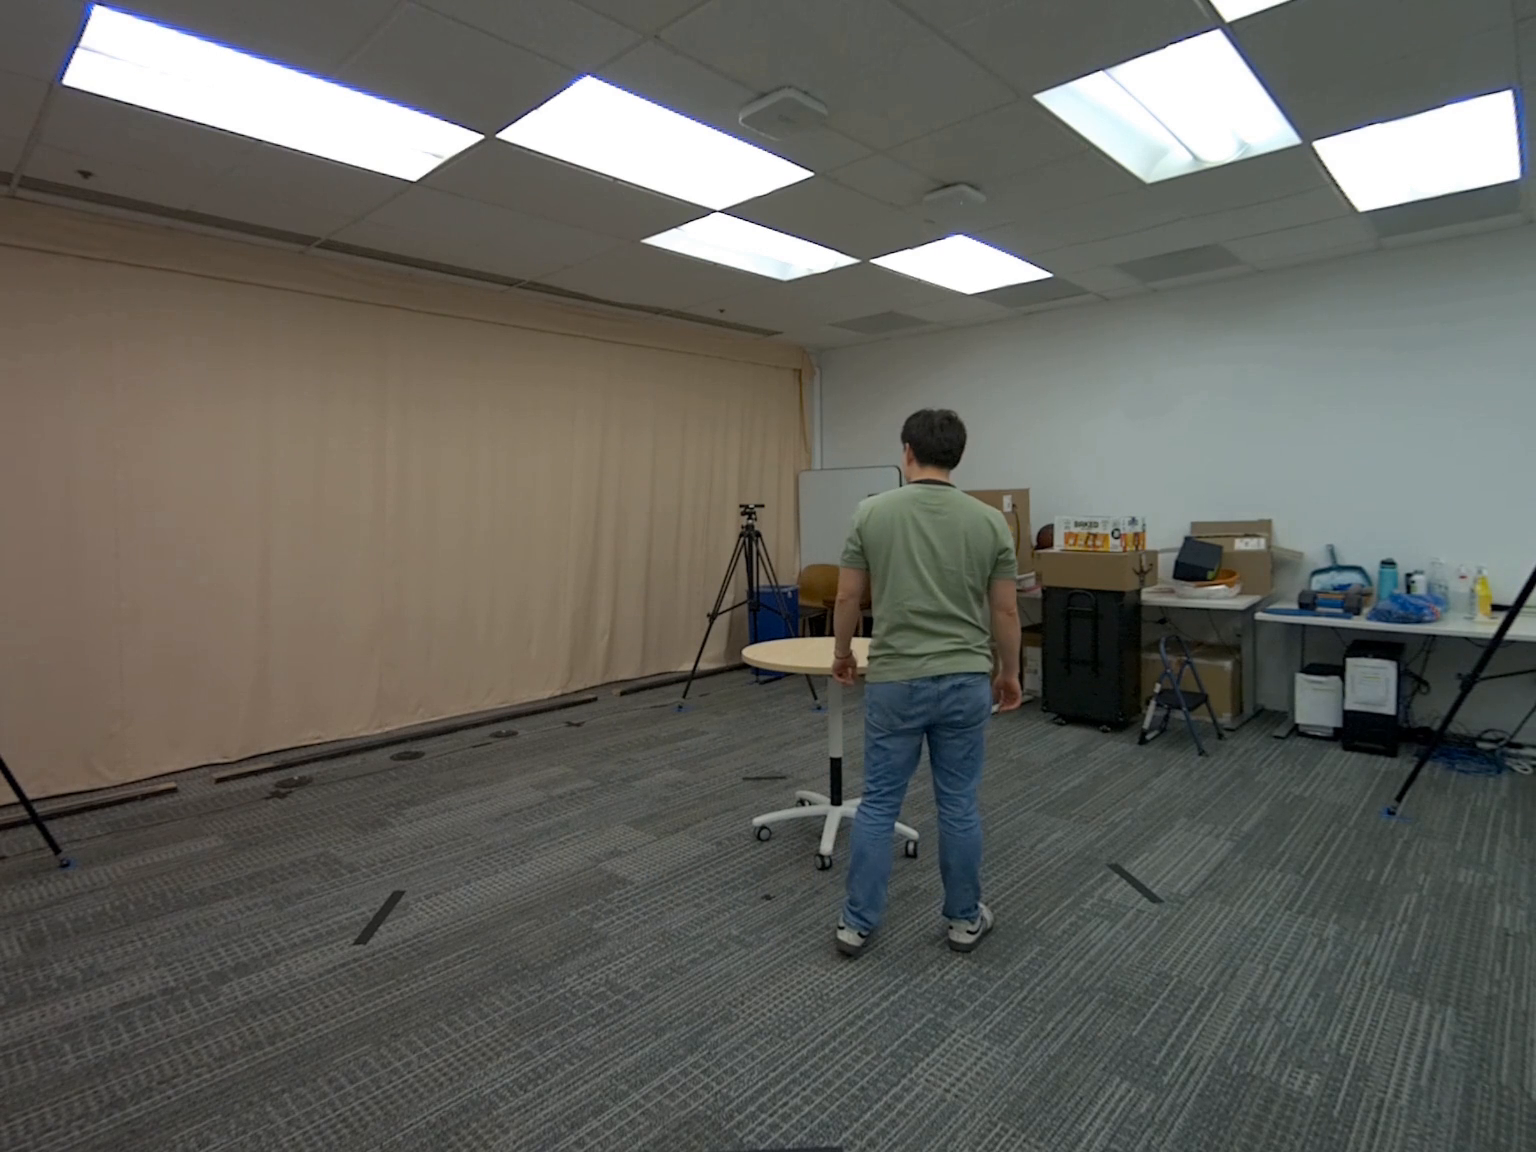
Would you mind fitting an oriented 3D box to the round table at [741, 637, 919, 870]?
[{"bbox_3d":[0.278,0.703,3.489,0.763,0.792,0.766,-1,3,-2],"label":"round table"}]
